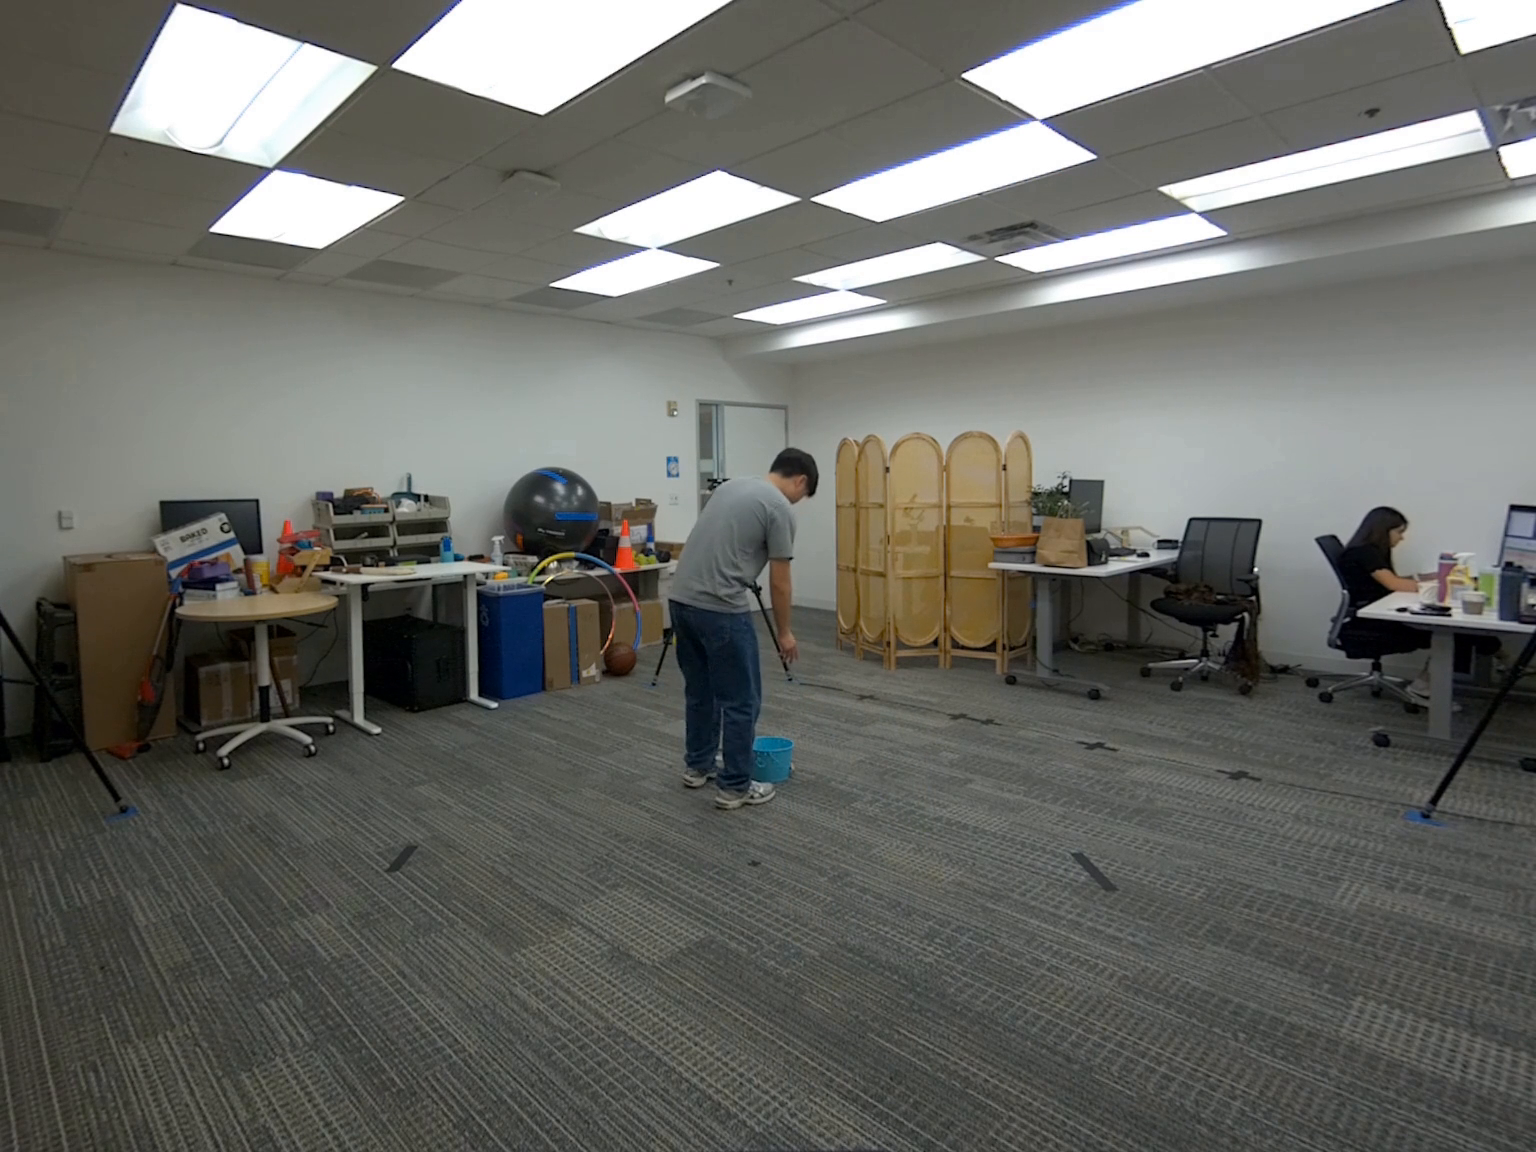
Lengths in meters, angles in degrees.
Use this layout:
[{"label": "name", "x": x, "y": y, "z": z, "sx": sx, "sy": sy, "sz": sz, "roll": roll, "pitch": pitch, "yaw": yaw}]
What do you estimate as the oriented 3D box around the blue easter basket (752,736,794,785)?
[{"label": "blue easter basket", "x": 0.005, "y": 0.864, "z": 4.023, "sx": 0.243, "sy": 0.155, "sz": 0.245, "roll": -1, "pitch": 5, "yaw": -2}]
